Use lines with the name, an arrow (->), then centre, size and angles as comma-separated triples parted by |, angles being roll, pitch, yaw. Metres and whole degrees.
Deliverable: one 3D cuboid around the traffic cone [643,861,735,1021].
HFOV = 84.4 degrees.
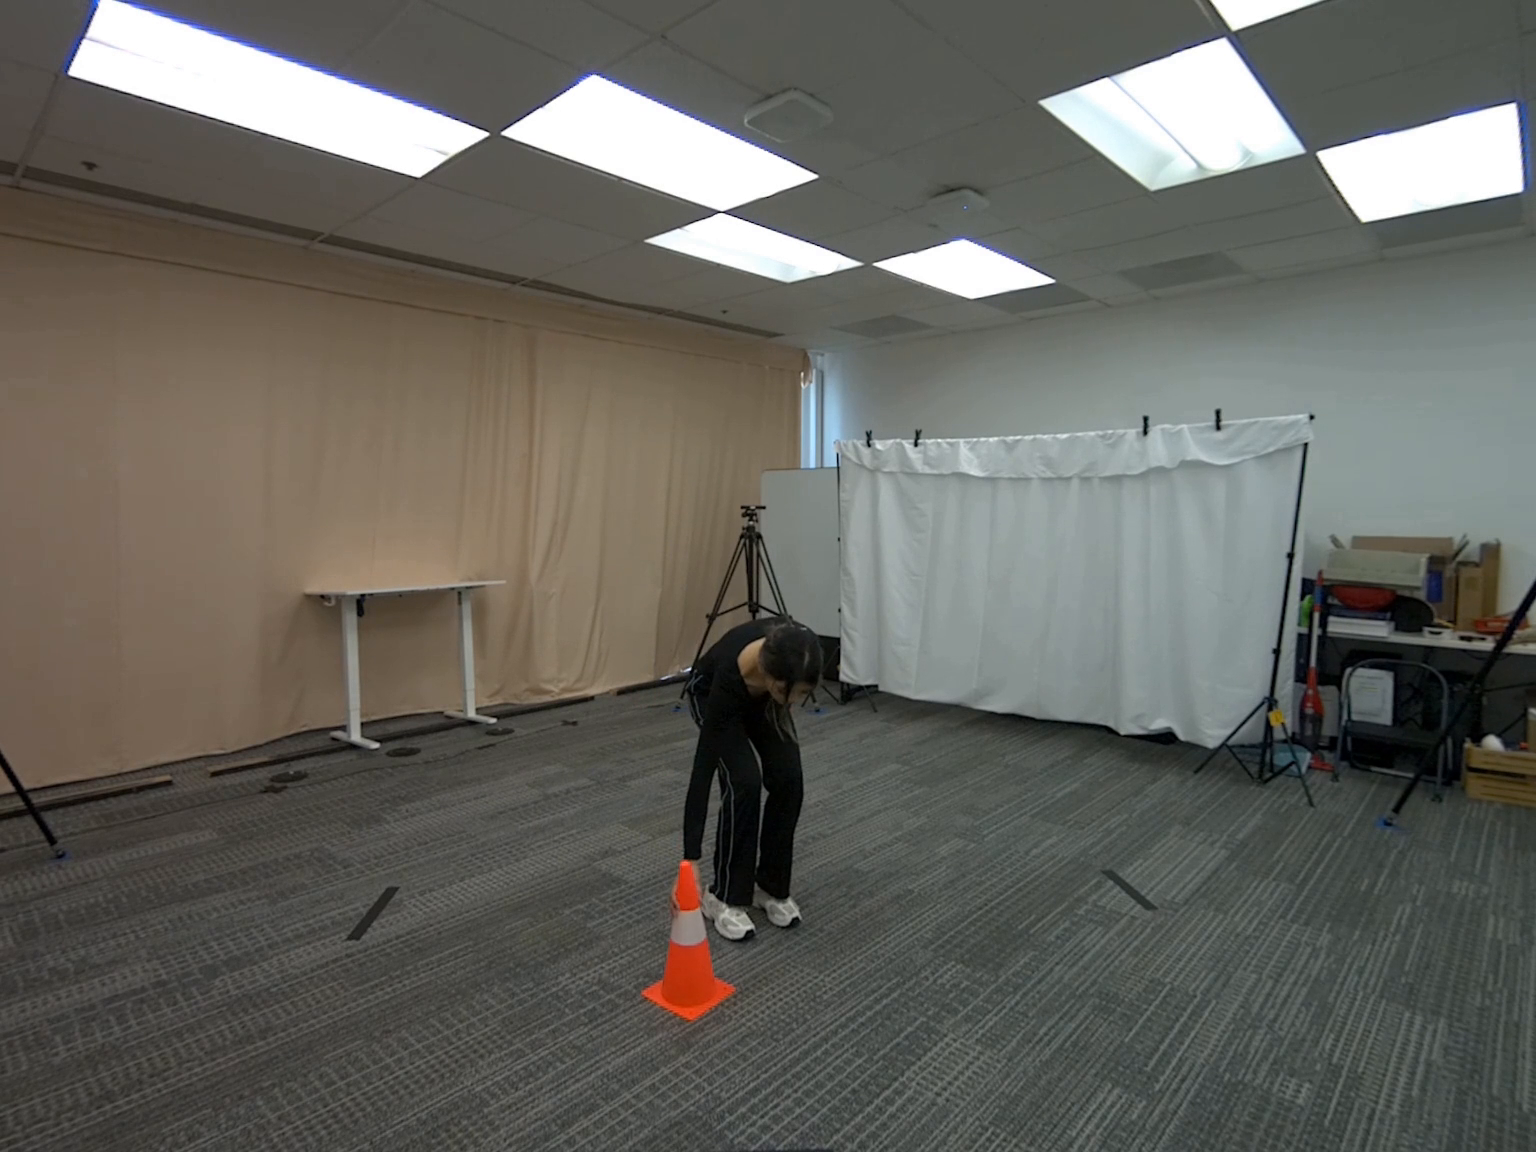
traffic cone -> -0.226, 1.003, 2.401 | 0.212, 0.383, 0.197 | 3, 4, 44
